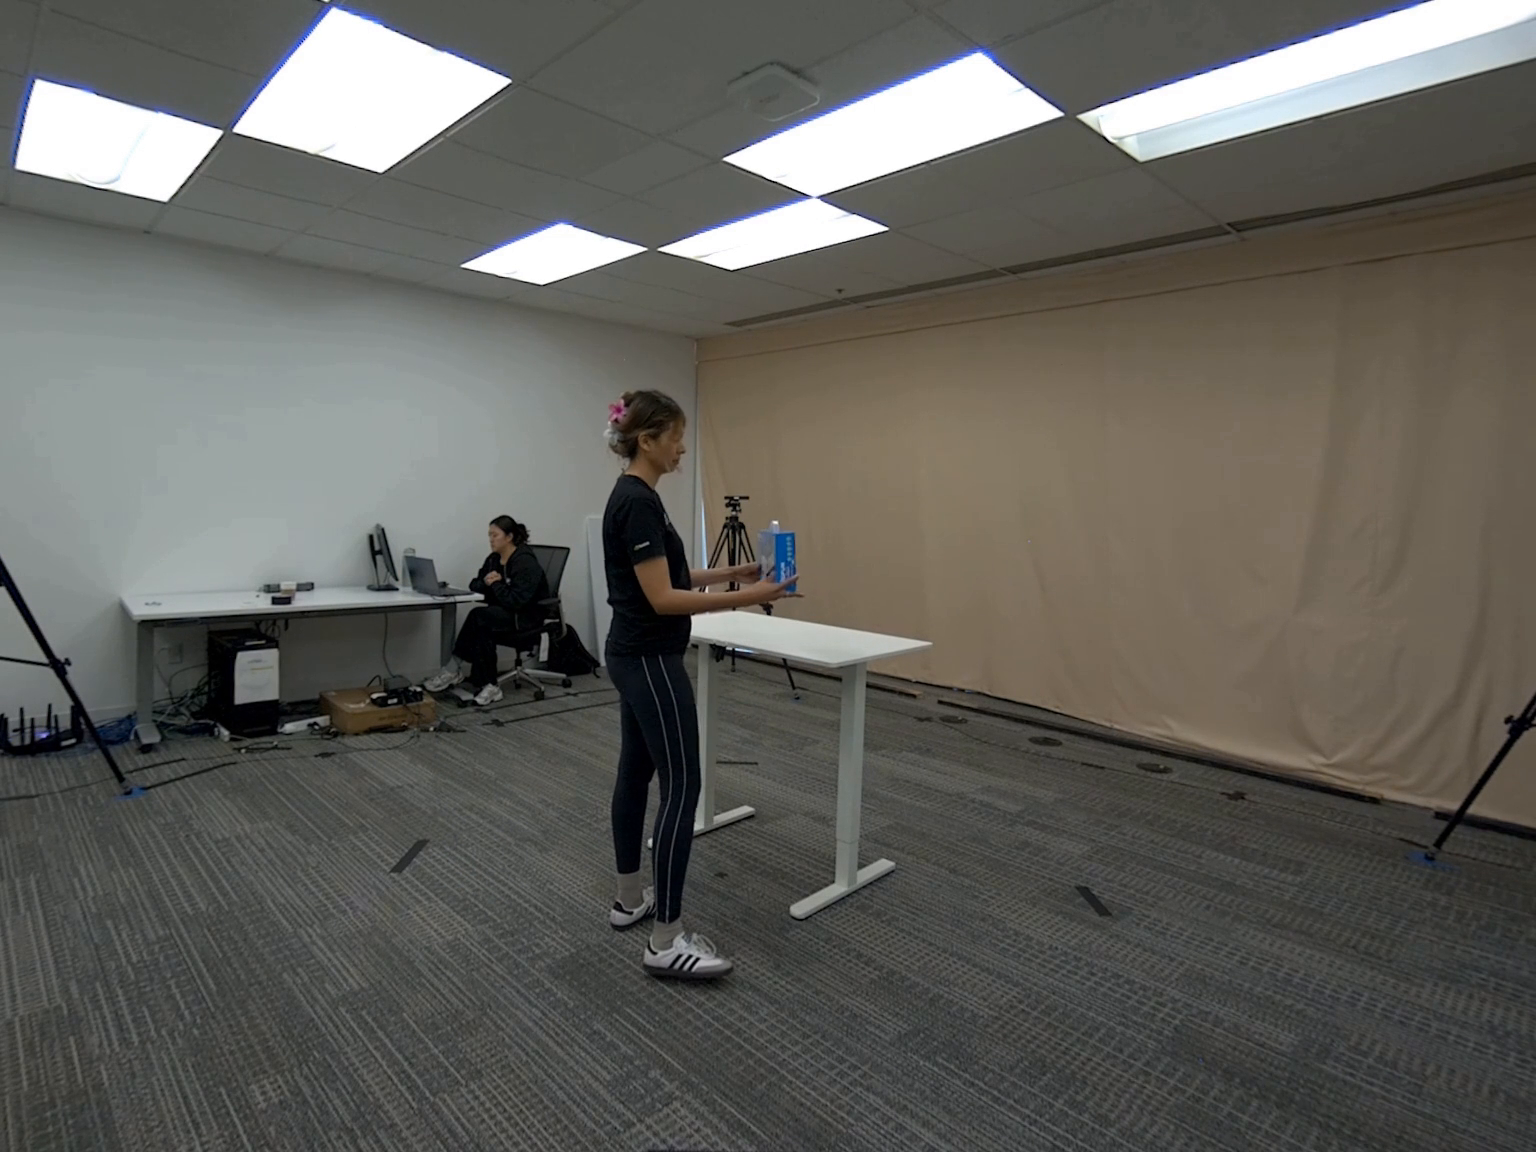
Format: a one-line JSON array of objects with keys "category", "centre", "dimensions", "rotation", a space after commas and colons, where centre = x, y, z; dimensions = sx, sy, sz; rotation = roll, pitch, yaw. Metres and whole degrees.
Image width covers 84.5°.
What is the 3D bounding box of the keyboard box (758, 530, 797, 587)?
[{"category": "keyboard box", "centre": [0.019, -0.055, 2.657], "dimensions": [0.059, 0.176, 0.439], "rotation": [0, 3, -7]}]
